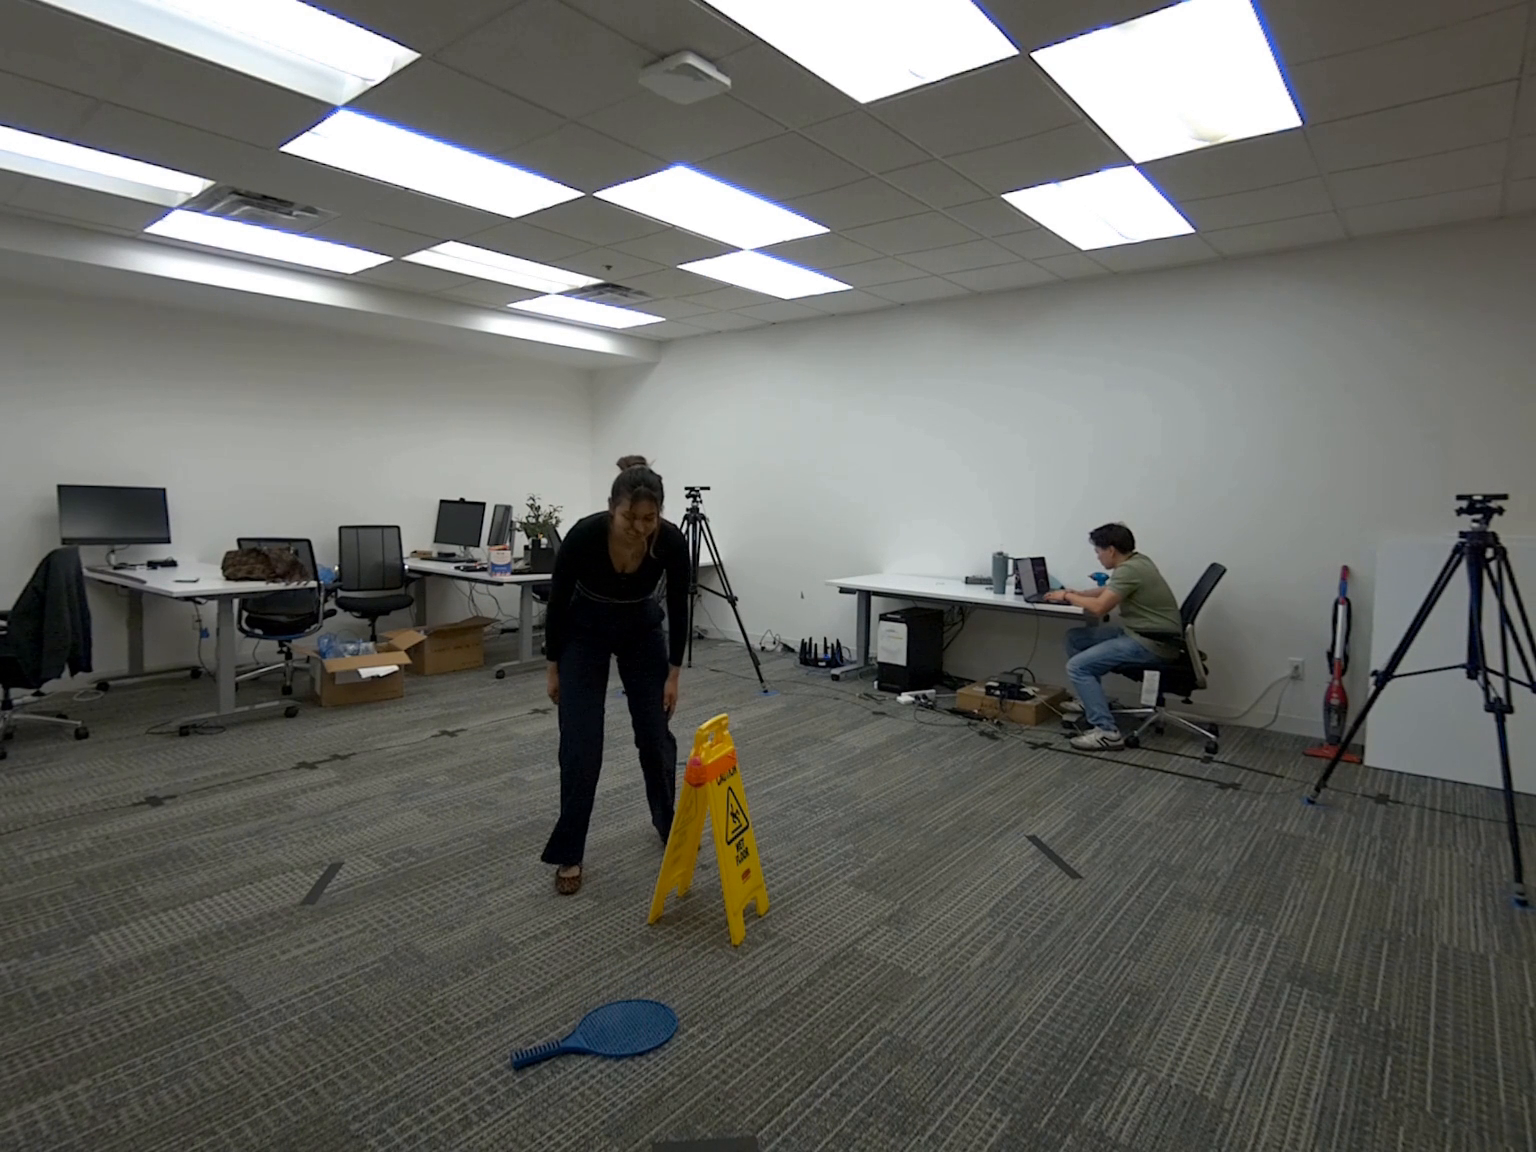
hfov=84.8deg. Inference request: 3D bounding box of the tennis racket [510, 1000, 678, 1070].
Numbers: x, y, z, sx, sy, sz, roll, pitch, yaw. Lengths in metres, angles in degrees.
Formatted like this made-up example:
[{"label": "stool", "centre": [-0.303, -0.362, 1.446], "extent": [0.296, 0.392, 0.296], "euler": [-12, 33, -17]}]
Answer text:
[{"label": "tennis racket", "centre": [-0.433, 1.145, 2.139], "extent": [0.422, 0.031, 0.220], "euler": [-1, 6, -28]}]
